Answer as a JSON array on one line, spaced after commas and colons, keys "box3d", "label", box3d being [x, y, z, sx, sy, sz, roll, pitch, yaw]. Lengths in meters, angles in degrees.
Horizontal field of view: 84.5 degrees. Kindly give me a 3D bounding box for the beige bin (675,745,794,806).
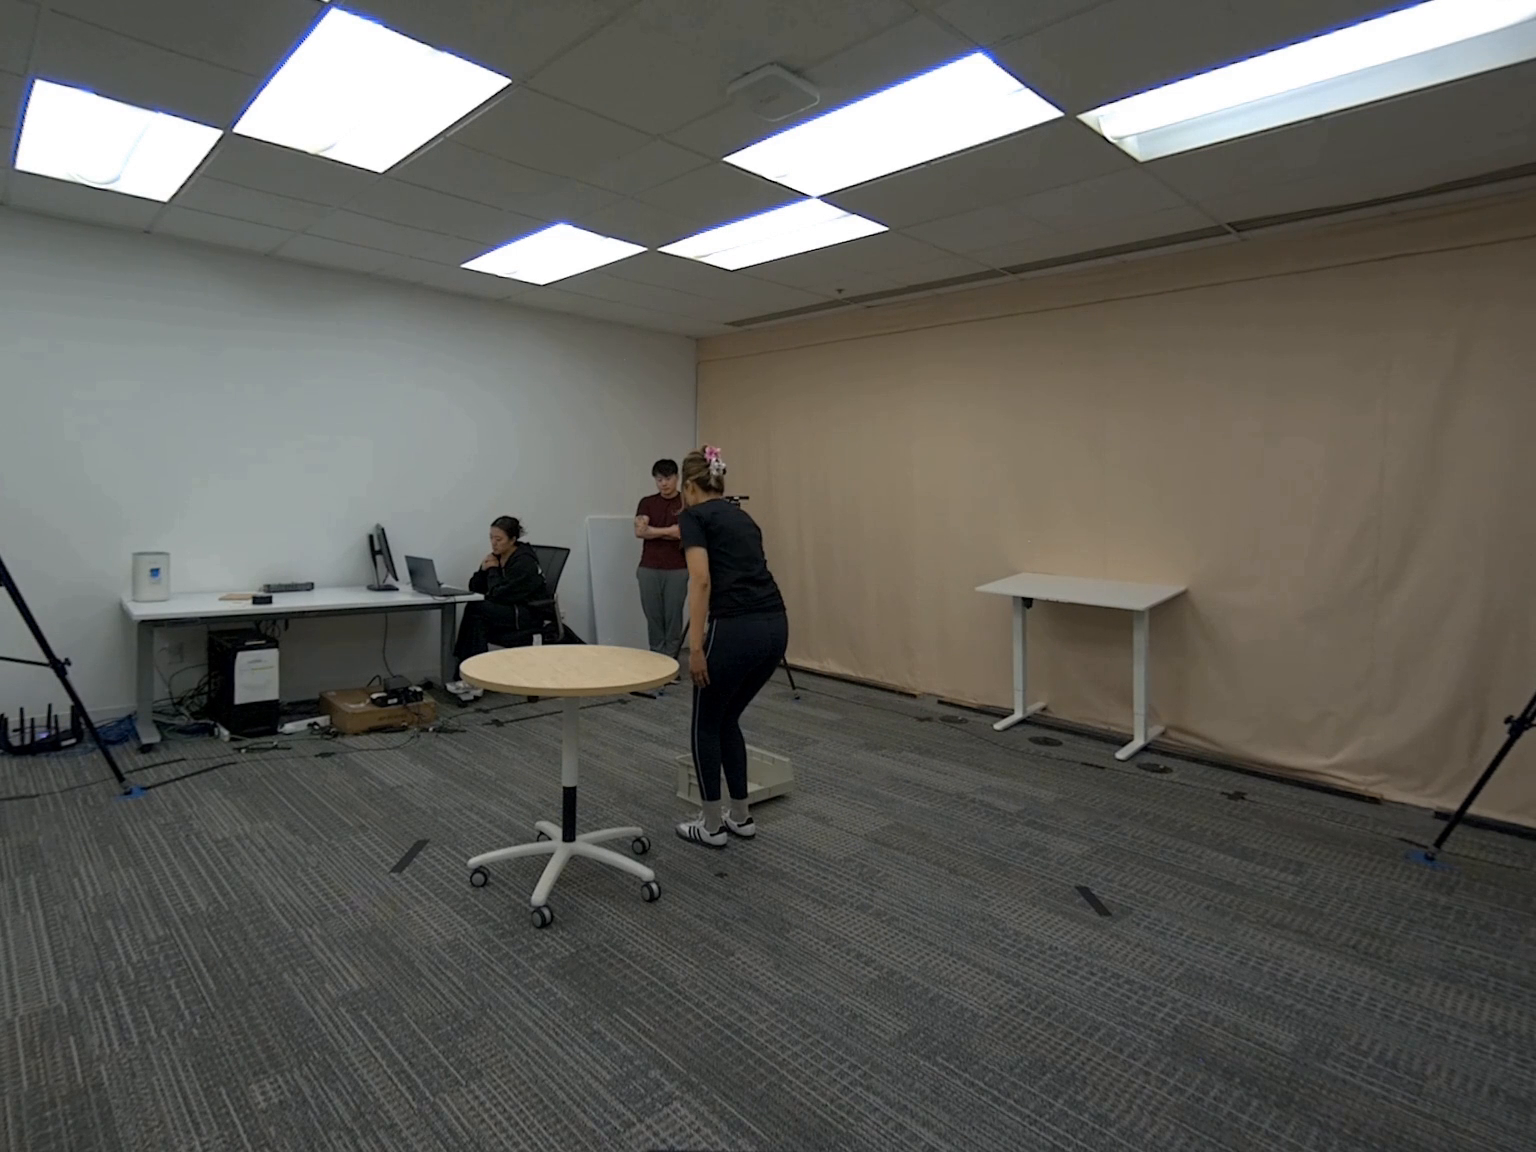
[{"box3d": [-0.167, 0.945, 3.935, 0.413, 0.188, 0.387, -4, 7, -45], "label": "beige bin"}]
